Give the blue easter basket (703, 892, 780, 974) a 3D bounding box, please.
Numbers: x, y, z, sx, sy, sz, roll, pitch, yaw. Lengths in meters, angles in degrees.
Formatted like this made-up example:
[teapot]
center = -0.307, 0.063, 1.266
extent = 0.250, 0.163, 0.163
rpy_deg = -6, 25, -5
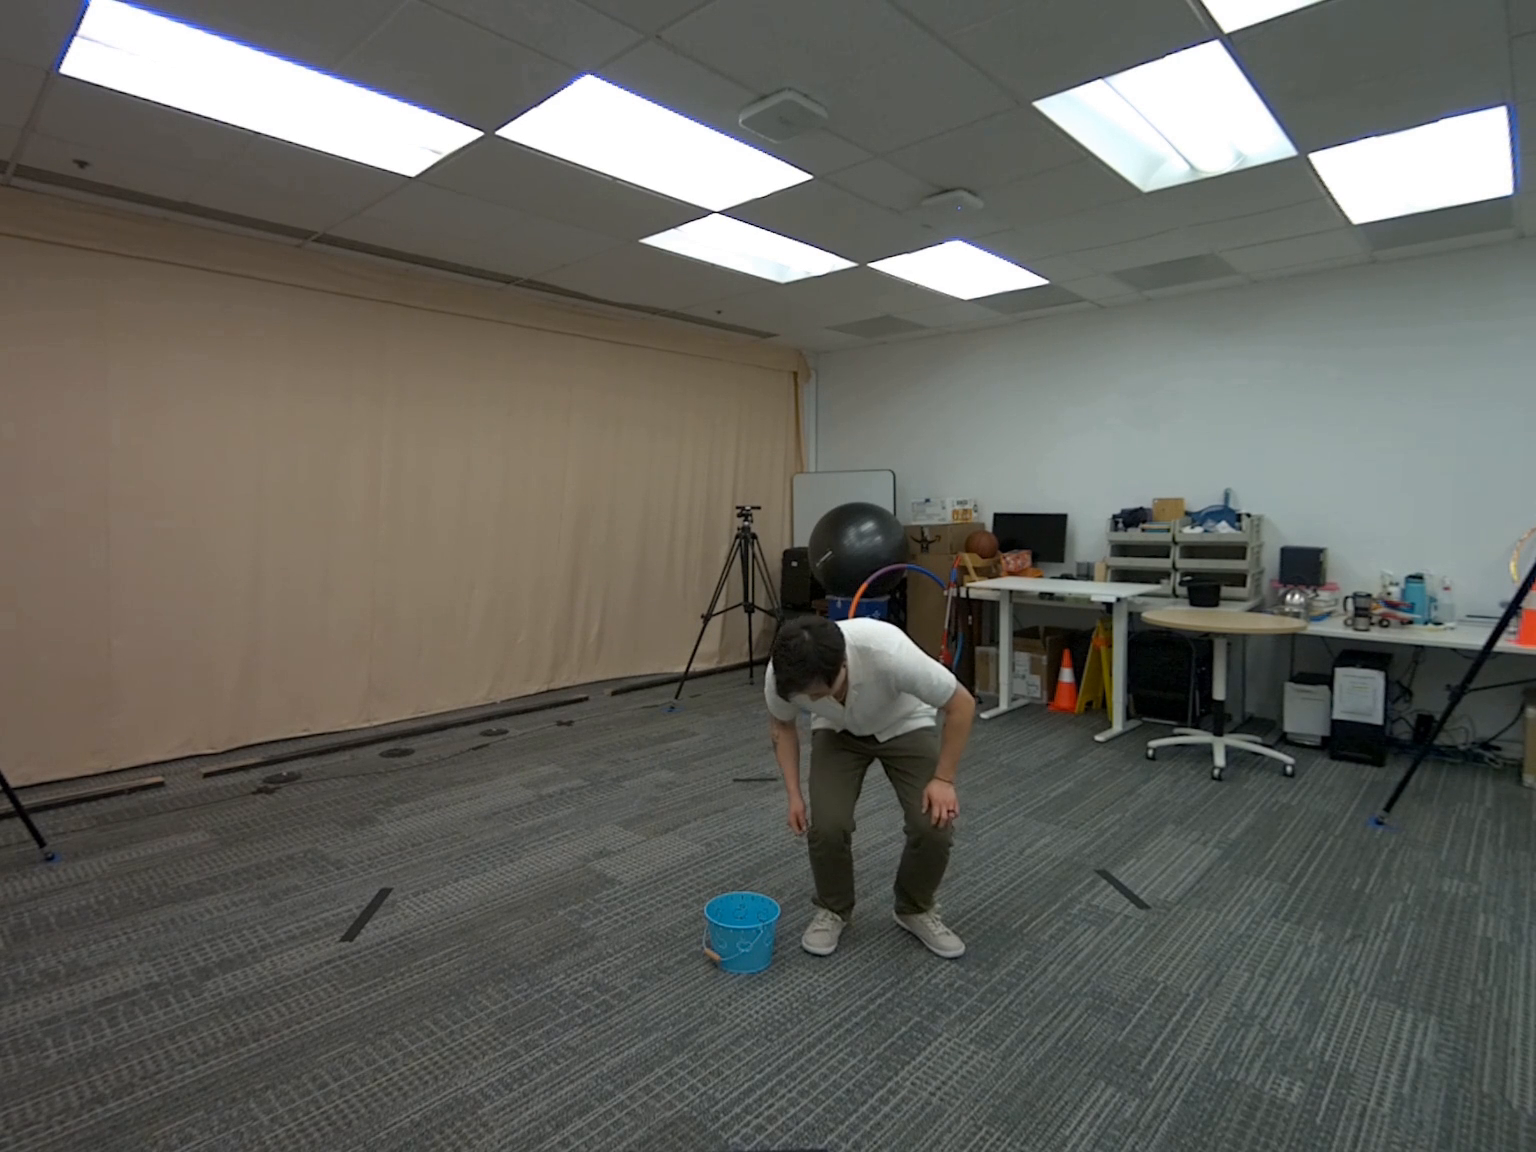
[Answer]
[blue easter basket]
center = -0.079, 1.106, 2.594
extent = 0.243, 0.155, 0.244
rpy_deg = 0, 3, -2
